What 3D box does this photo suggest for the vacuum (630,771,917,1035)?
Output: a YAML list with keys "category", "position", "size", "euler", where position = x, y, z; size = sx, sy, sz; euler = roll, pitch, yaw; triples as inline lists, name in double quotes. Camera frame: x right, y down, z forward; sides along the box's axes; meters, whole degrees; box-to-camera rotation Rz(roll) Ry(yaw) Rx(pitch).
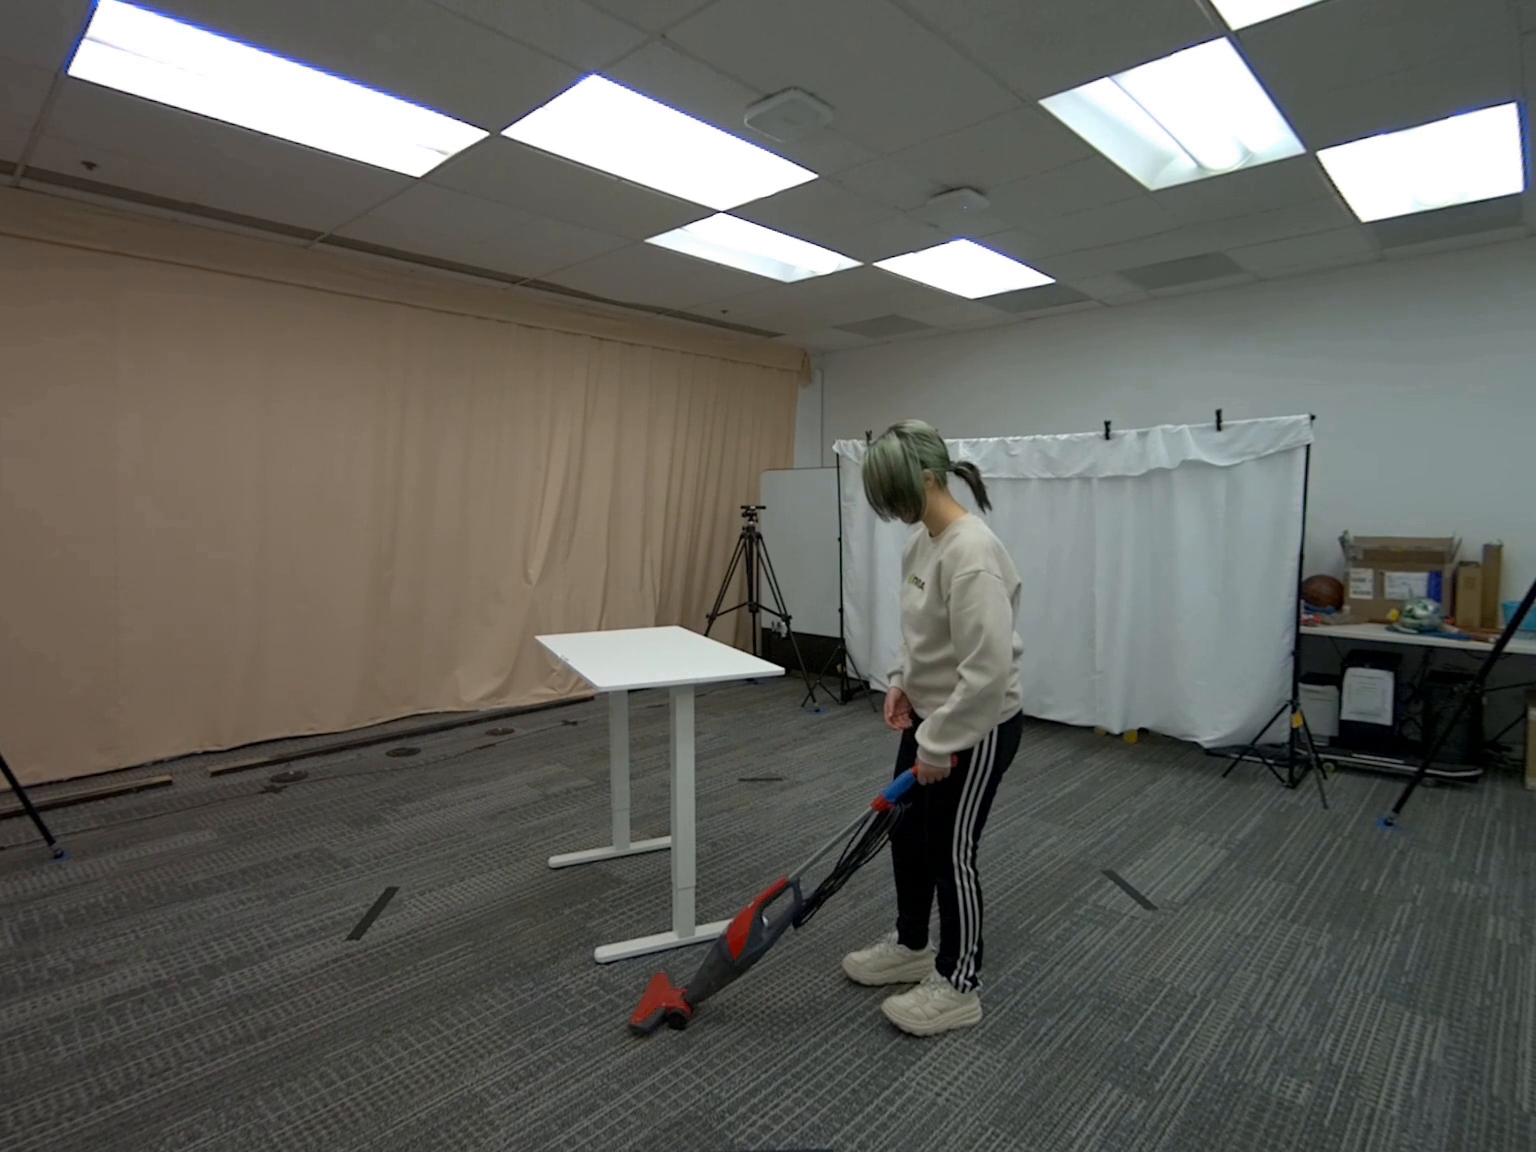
- category: "vacuum"
  position: [0.093, 0.824, 2.209]
  size: [1.052, 0.144, 0.251]
  euler: [-45, 1, 9]
